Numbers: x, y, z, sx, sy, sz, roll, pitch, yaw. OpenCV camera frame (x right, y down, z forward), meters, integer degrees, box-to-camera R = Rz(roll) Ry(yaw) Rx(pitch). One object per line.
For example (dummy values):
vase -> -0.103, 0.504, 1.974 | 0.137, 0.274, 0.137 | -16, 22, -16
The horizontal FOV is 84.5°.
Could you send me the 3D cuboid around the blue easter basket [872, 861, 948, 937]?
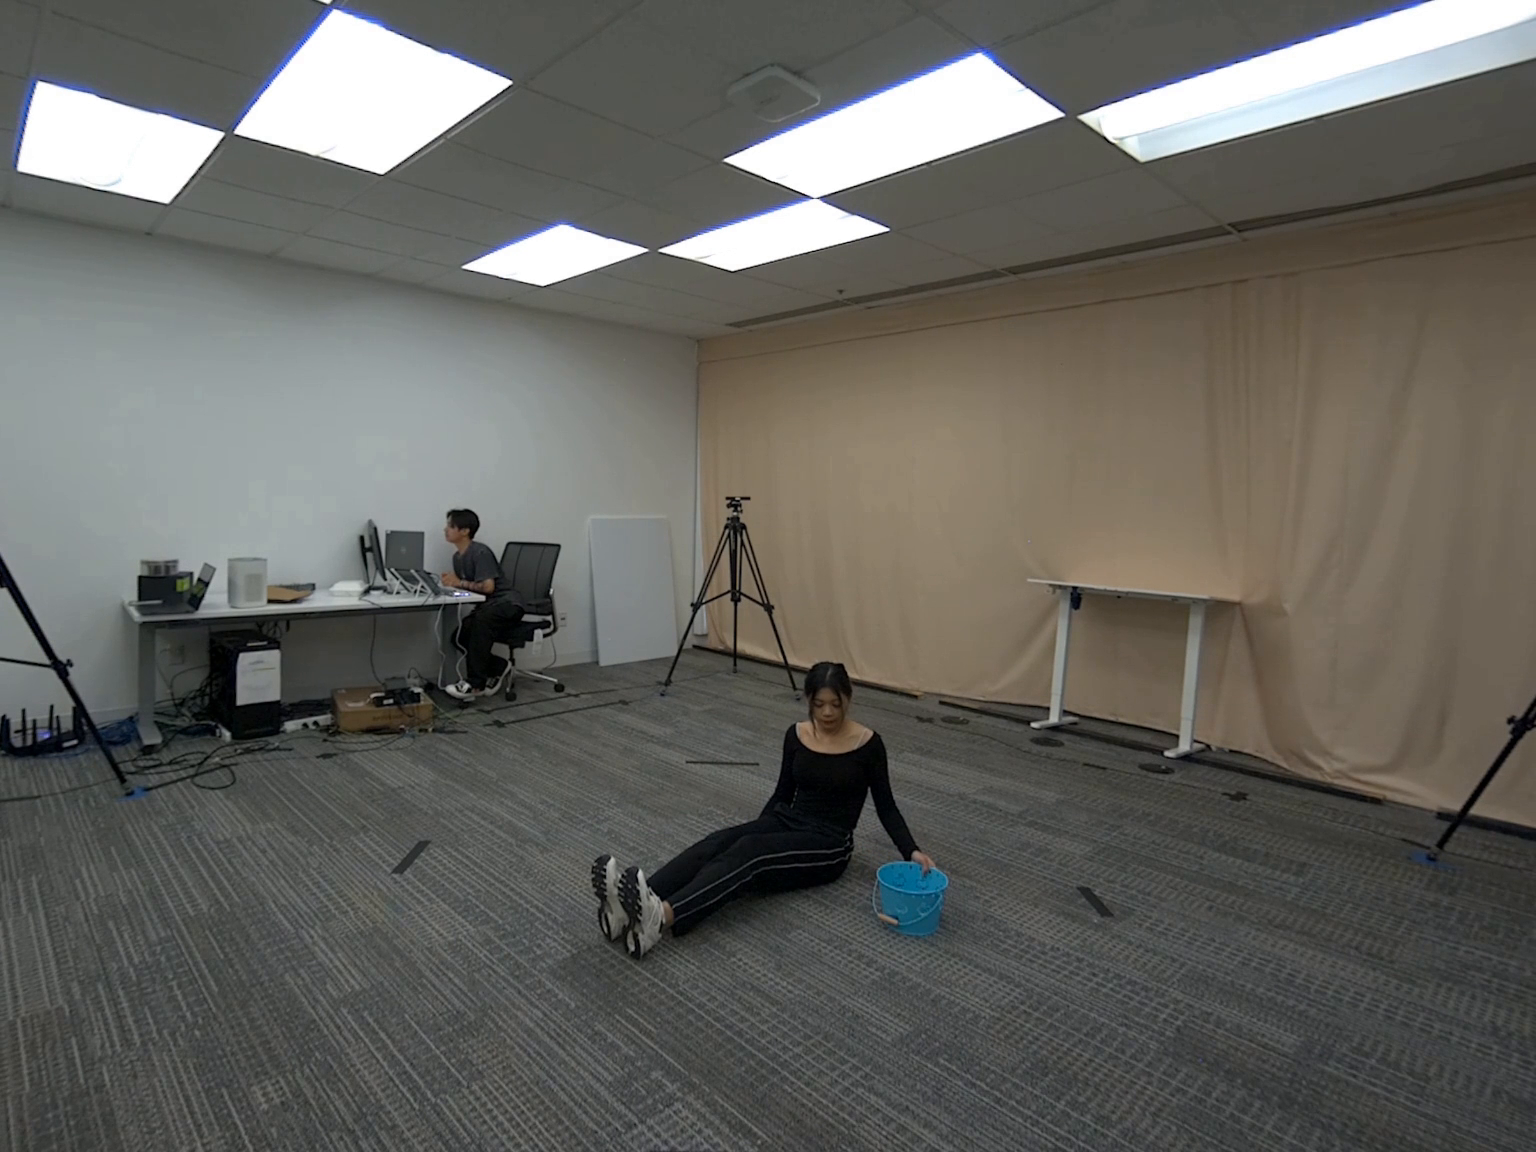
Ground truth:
blue easter basket -> 0.453, 1.069, 2.792 | 0.243, 0.155, 0.244 | 2, 5, -2
